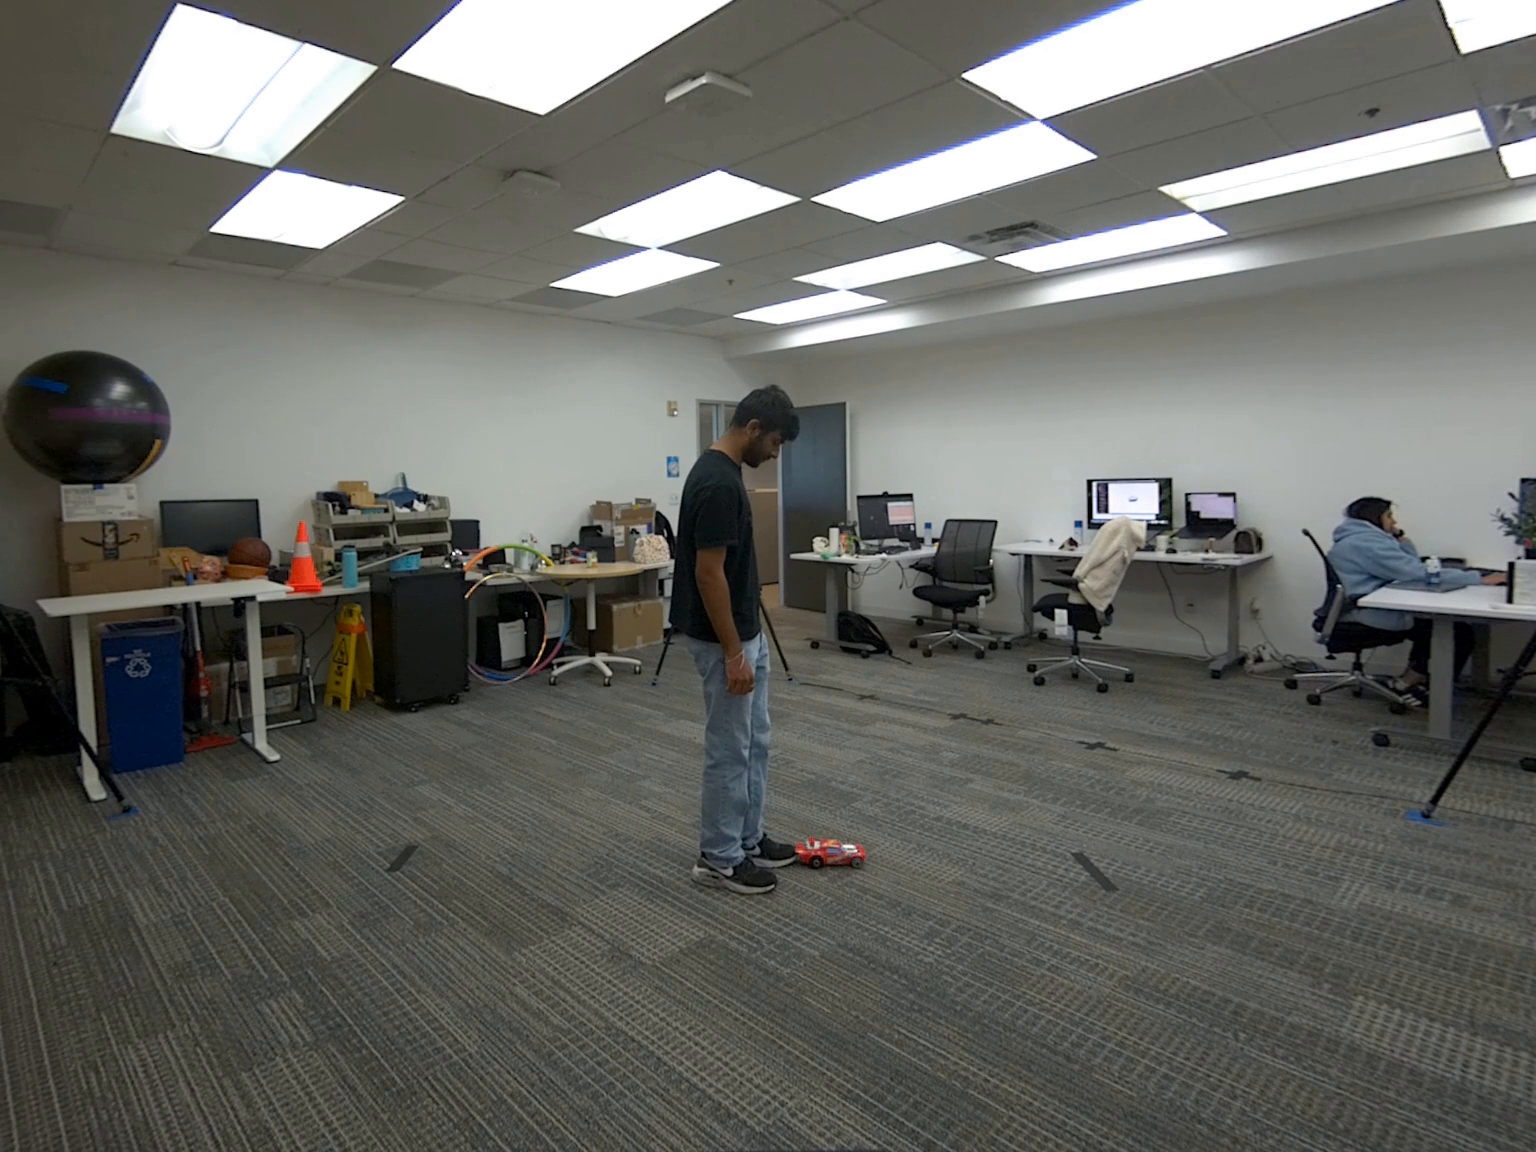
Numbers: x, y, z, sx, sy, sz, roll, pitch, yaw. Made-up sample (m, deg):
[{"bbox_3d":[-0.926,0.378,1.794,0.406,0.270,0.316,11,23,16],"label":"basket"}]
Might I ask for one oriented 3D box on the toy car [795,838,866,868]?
[{"bbox_3d":[0.215,1.001,3.101,0.255,0.083,0.130,11,6,1],"label":"toy car"}]
